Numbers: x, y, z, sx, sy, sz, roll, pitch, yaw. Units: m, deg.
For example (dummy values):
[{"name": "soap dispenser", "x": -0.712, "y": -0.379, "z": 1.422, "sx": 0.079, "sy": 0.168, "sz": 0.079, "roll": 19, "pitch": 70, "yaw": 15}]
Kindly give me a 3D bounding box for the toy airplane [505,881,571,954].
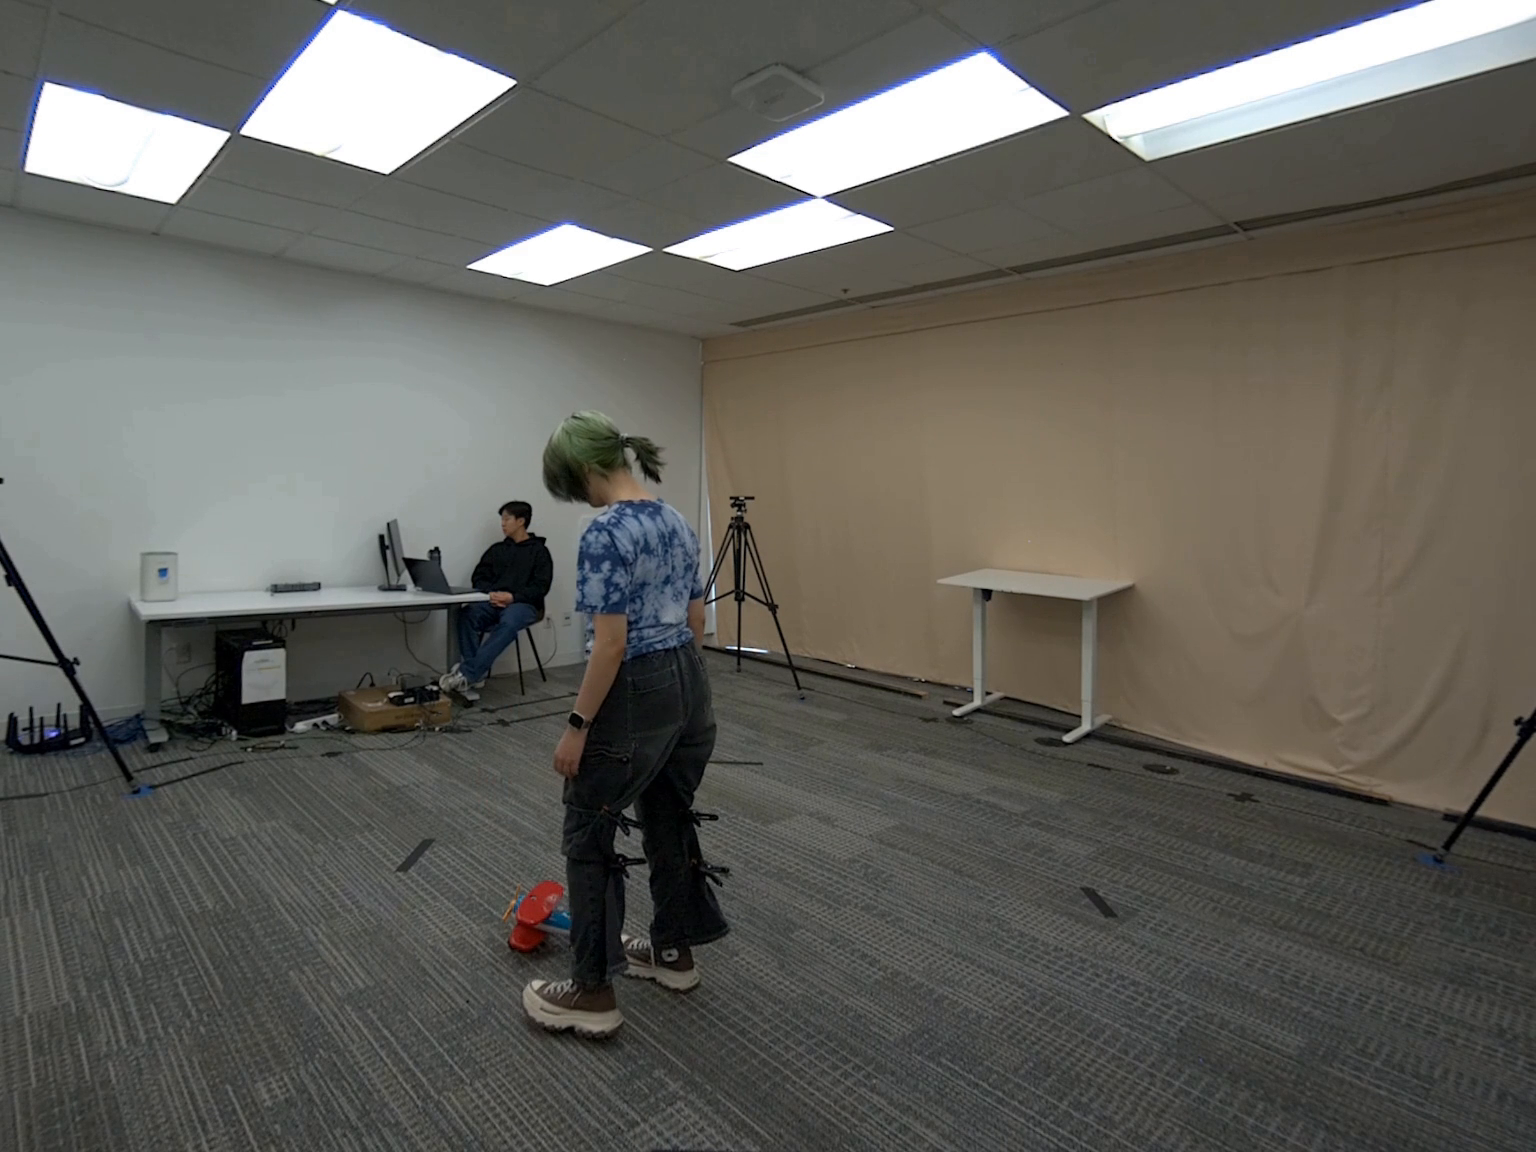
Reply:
[{"name": "toy airplane", "x": -0.681, "y": 1.068, "z": 2.598, "sx": 0.255, "sy": 0.156, "sz": 0.255, "roll": -2, "pitch": 5, "yaw": -21}]
